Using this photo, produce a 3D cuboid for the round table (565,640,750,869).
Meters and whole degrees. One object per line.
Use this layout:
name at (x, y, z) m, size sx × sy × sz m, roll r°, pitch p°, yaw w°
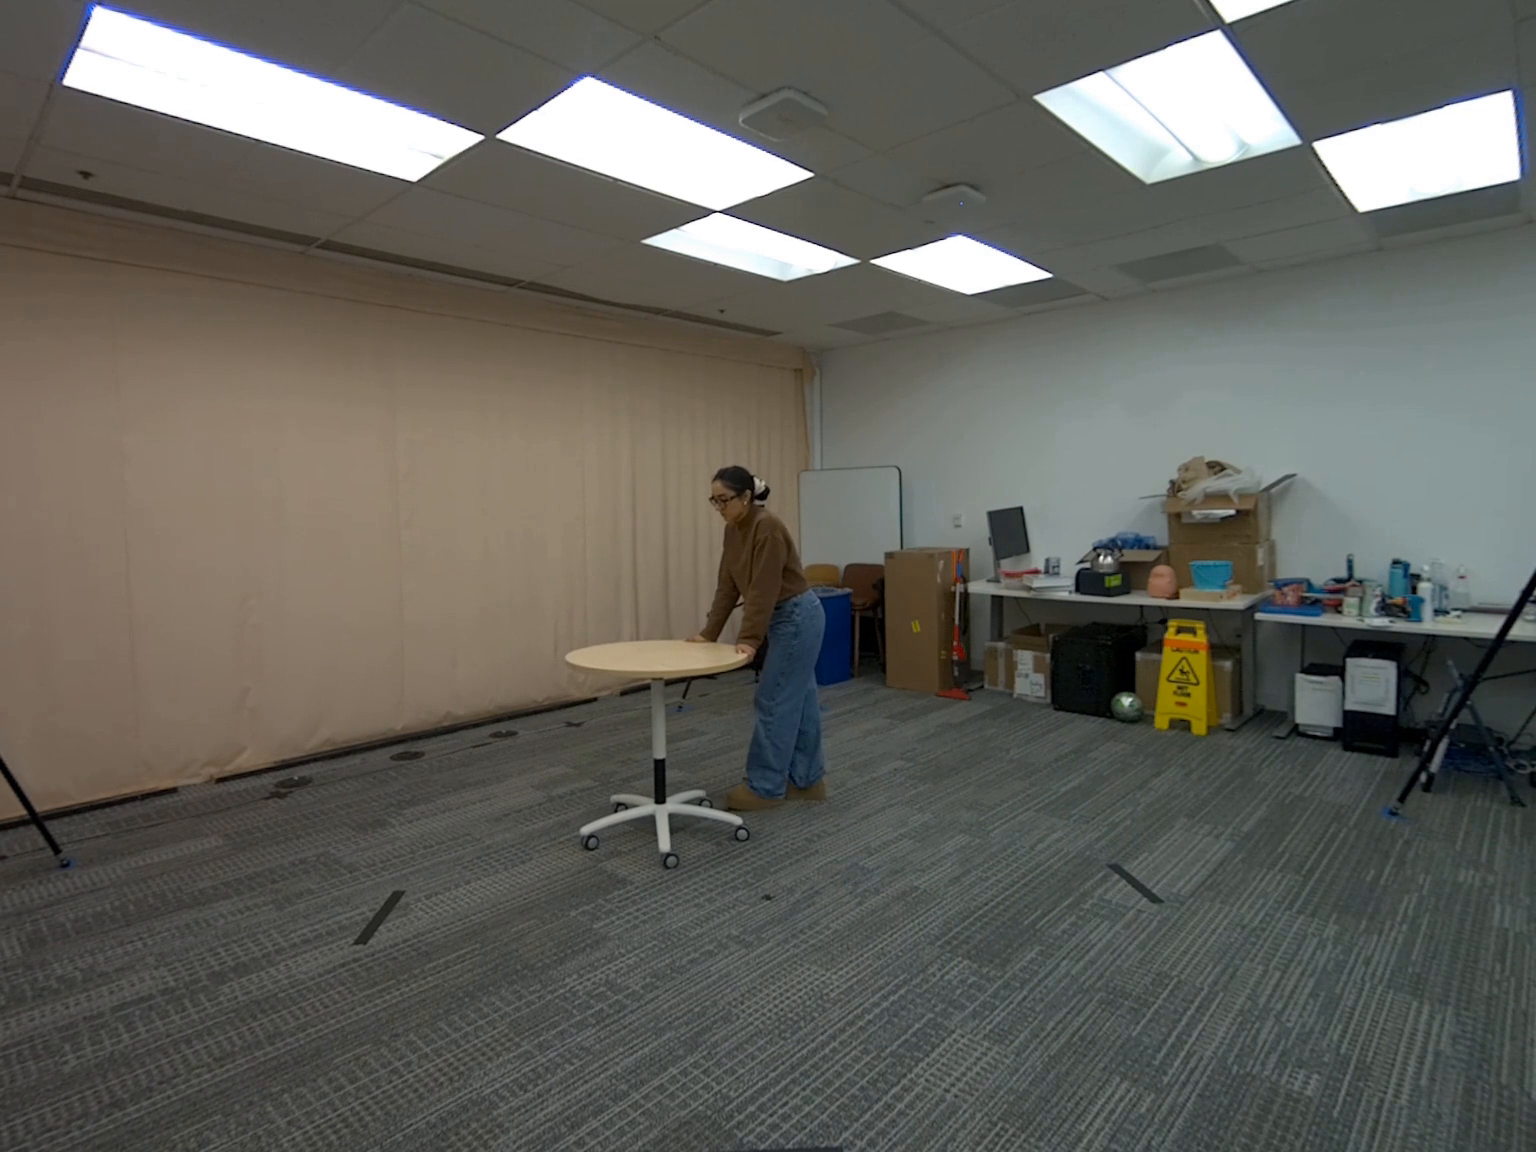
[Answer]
round table at (-0.453, 0.717, 3.556) m, size 0.763 × 0.792 × 0.766 m, roll -1°, pitch 3°, yaw -2°
